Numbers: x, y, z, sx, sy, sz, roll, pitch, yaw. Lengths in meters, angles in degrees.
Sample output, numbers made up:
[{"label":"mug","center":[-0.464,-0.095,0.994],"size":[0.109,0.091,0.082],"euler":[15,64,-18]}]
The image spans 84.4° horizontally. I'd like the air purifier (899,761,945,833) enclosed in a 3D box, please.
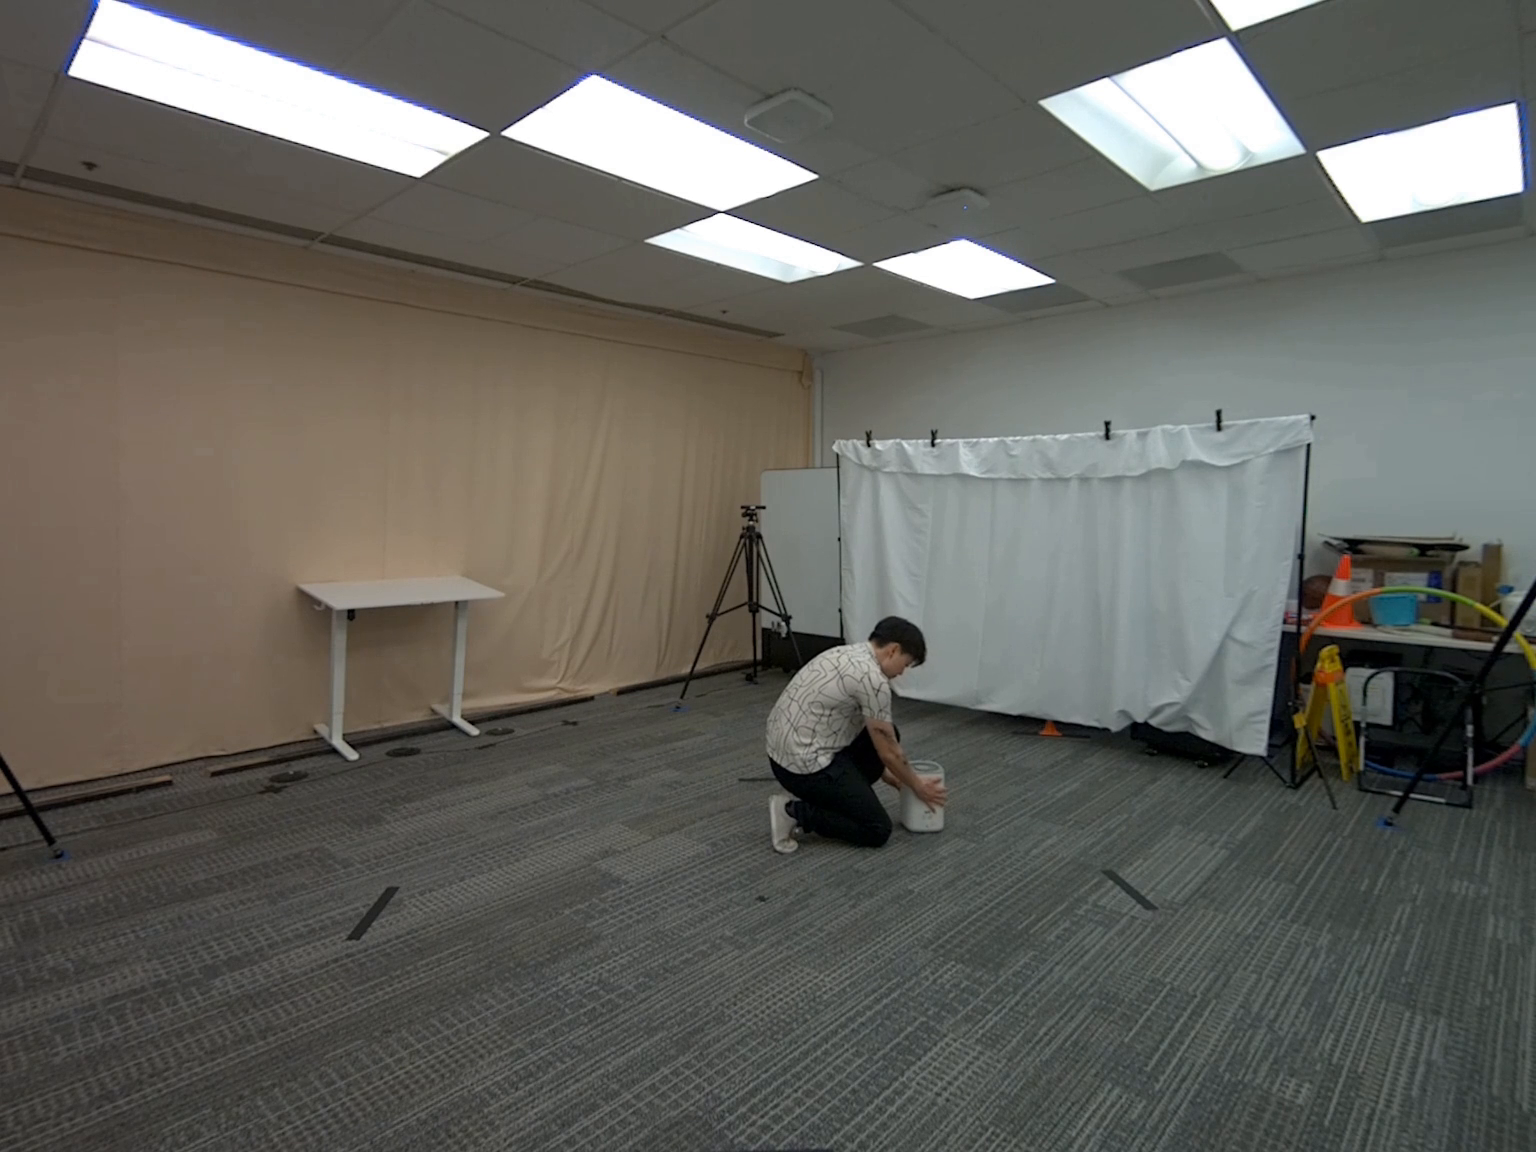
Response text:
[{"label":"air purifier","center":[0.671,0.956,3.639],"size":[0.171,0.265,0.172],"euler":[0,3,-6]}]
